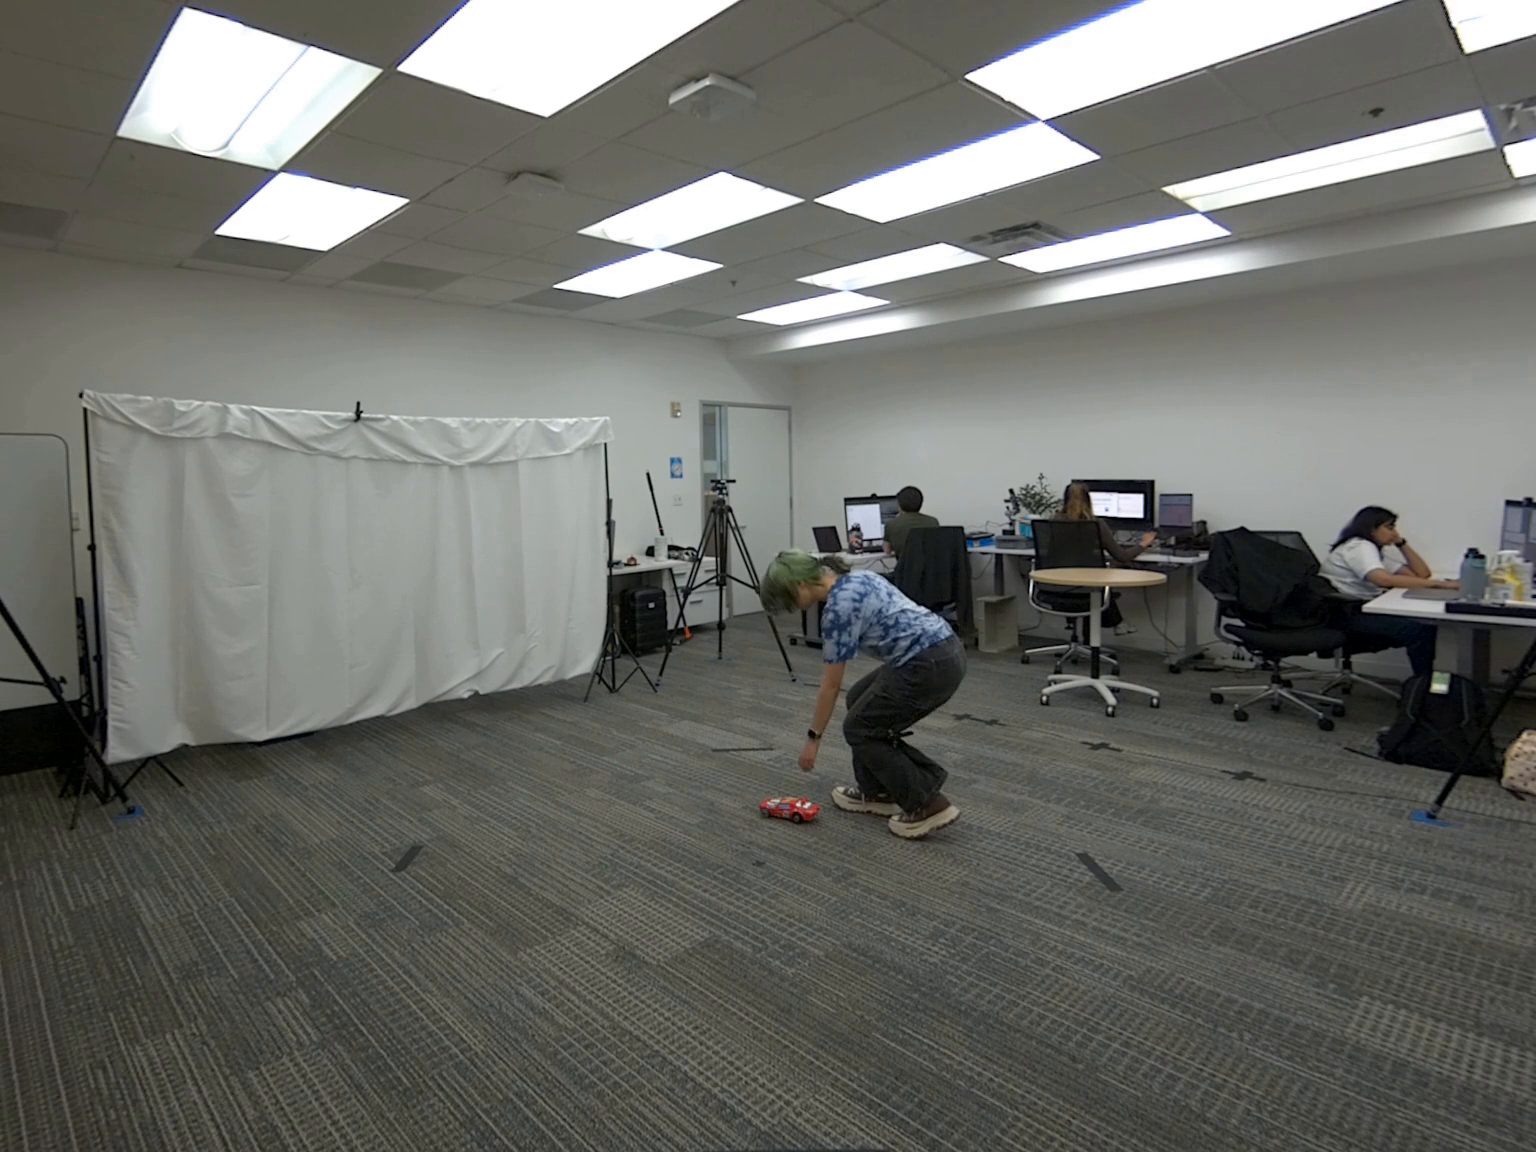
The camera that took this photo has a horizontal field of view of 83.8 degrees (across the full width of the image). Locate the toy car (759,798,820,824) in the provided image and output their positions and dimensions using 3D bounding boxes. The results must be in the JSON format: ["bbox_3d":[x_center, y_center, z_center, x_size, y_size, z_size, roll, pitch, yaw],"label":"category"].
[{"bbox_3d":[0.099,0.967,3.533,0.260,0.083,0.127,-10,1,28],"label":"toy car"}]
